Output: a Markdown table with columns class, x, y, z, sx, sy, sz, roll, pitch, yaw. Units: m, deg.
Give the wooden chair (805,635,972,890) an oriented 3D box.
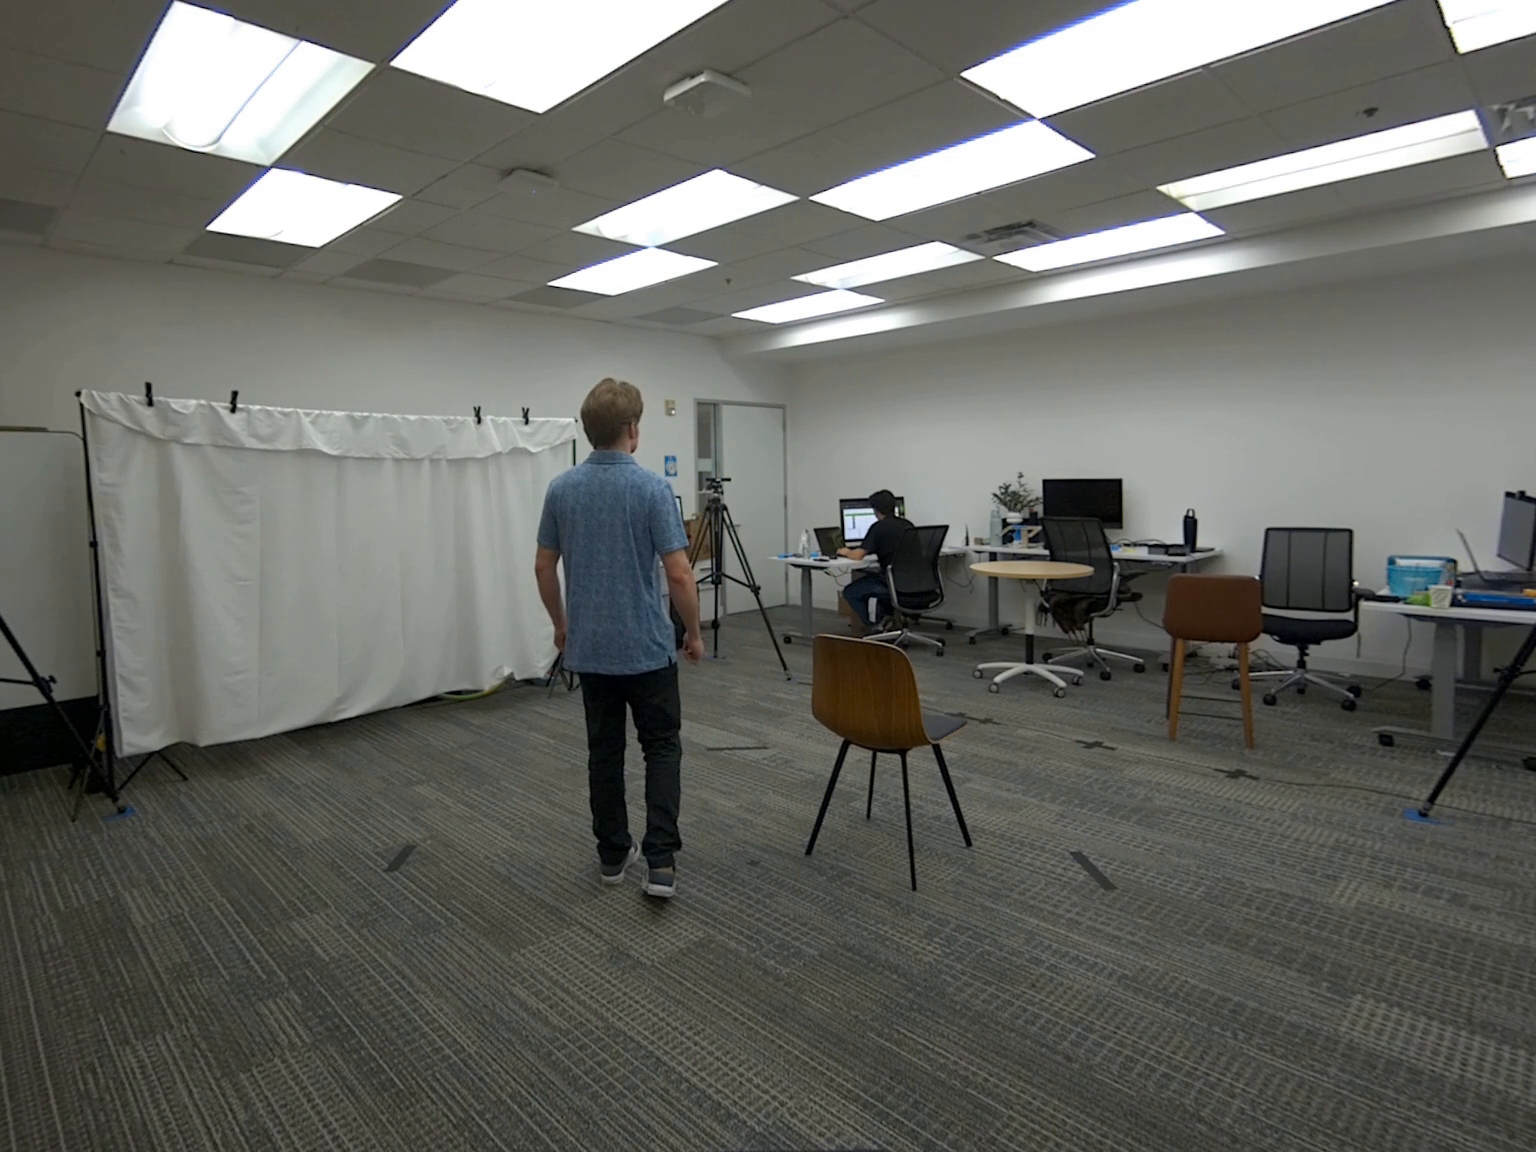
| class | x | y | z | sx | sy | sz | roll | pitch | yaw |
| --- | --- | --- | --- | --- | --- | --- | --- | --- | --- |
| wooden chair | 0.448 | 0.599 | 3.162 | 0.492 | 0.871 | 0.512 | 3 | 10 | 38 |
